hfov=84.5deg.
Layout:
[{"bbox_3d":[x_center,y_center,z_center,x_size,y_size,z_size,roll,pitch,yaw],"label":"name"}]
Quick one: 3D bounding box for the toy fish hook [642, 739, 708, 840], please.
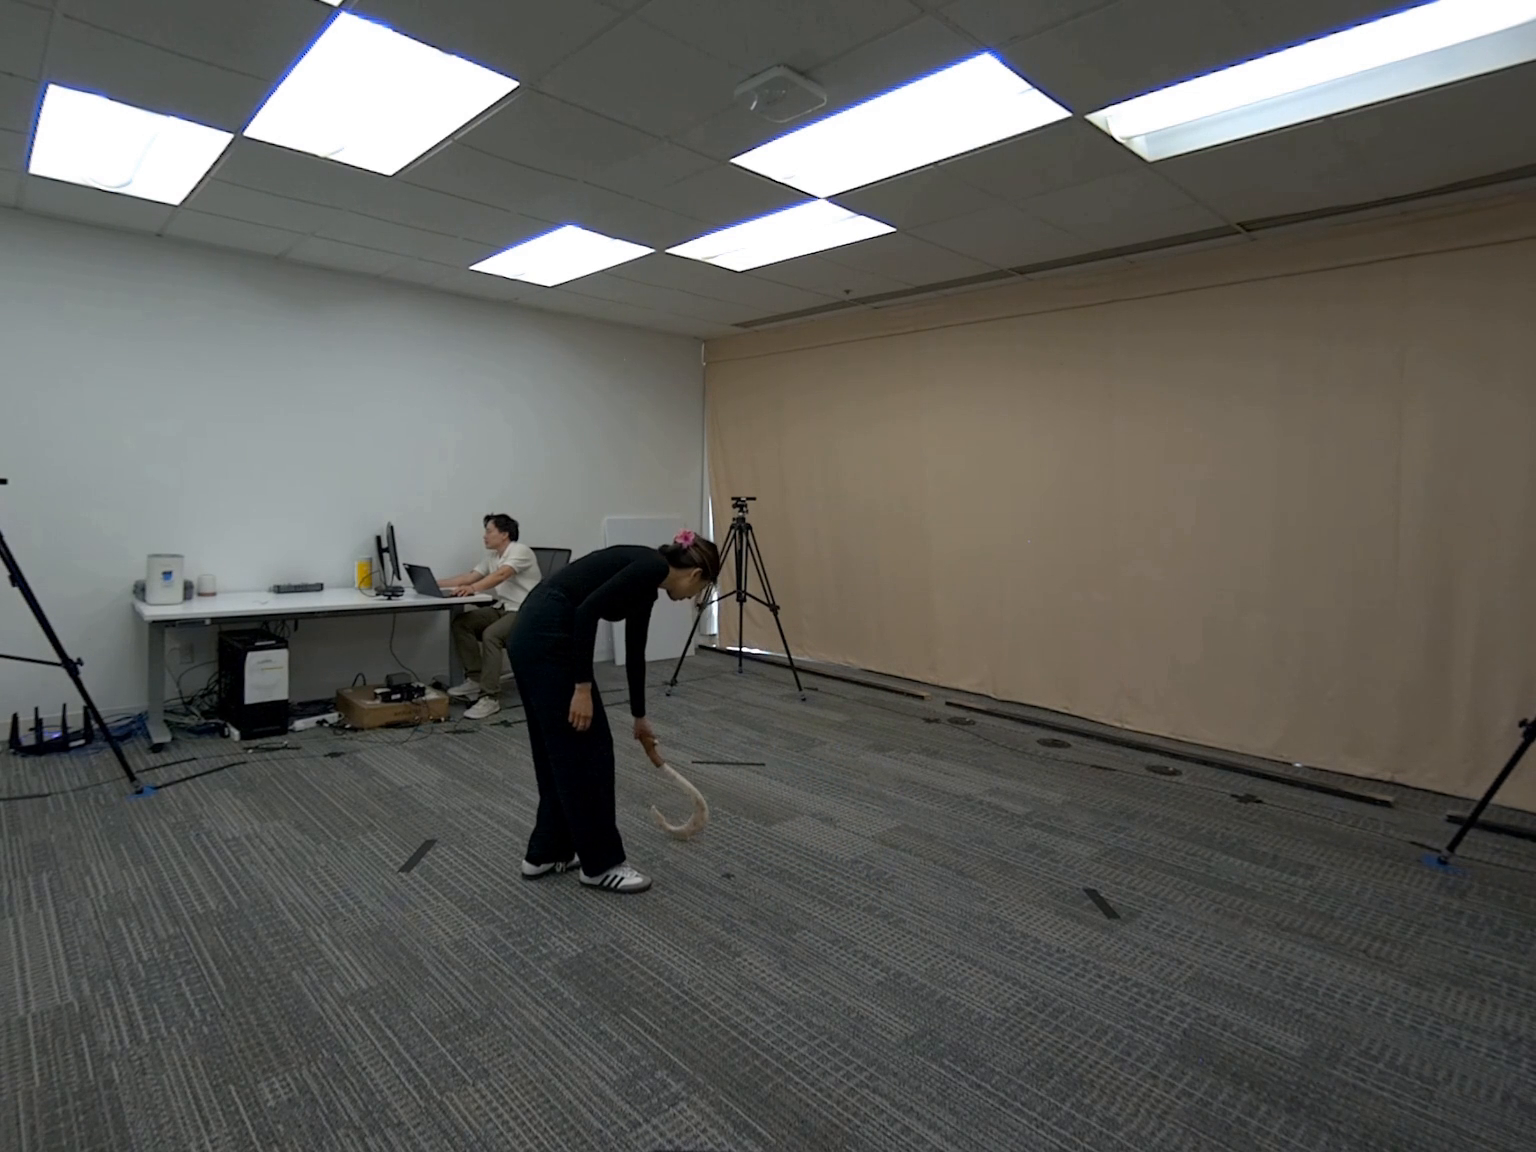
[{"bbox_3d":[-0.450,0.845,3.441,0.225,0.511,0.048,-36,-8,6],"label":"toy fish hook"}]
